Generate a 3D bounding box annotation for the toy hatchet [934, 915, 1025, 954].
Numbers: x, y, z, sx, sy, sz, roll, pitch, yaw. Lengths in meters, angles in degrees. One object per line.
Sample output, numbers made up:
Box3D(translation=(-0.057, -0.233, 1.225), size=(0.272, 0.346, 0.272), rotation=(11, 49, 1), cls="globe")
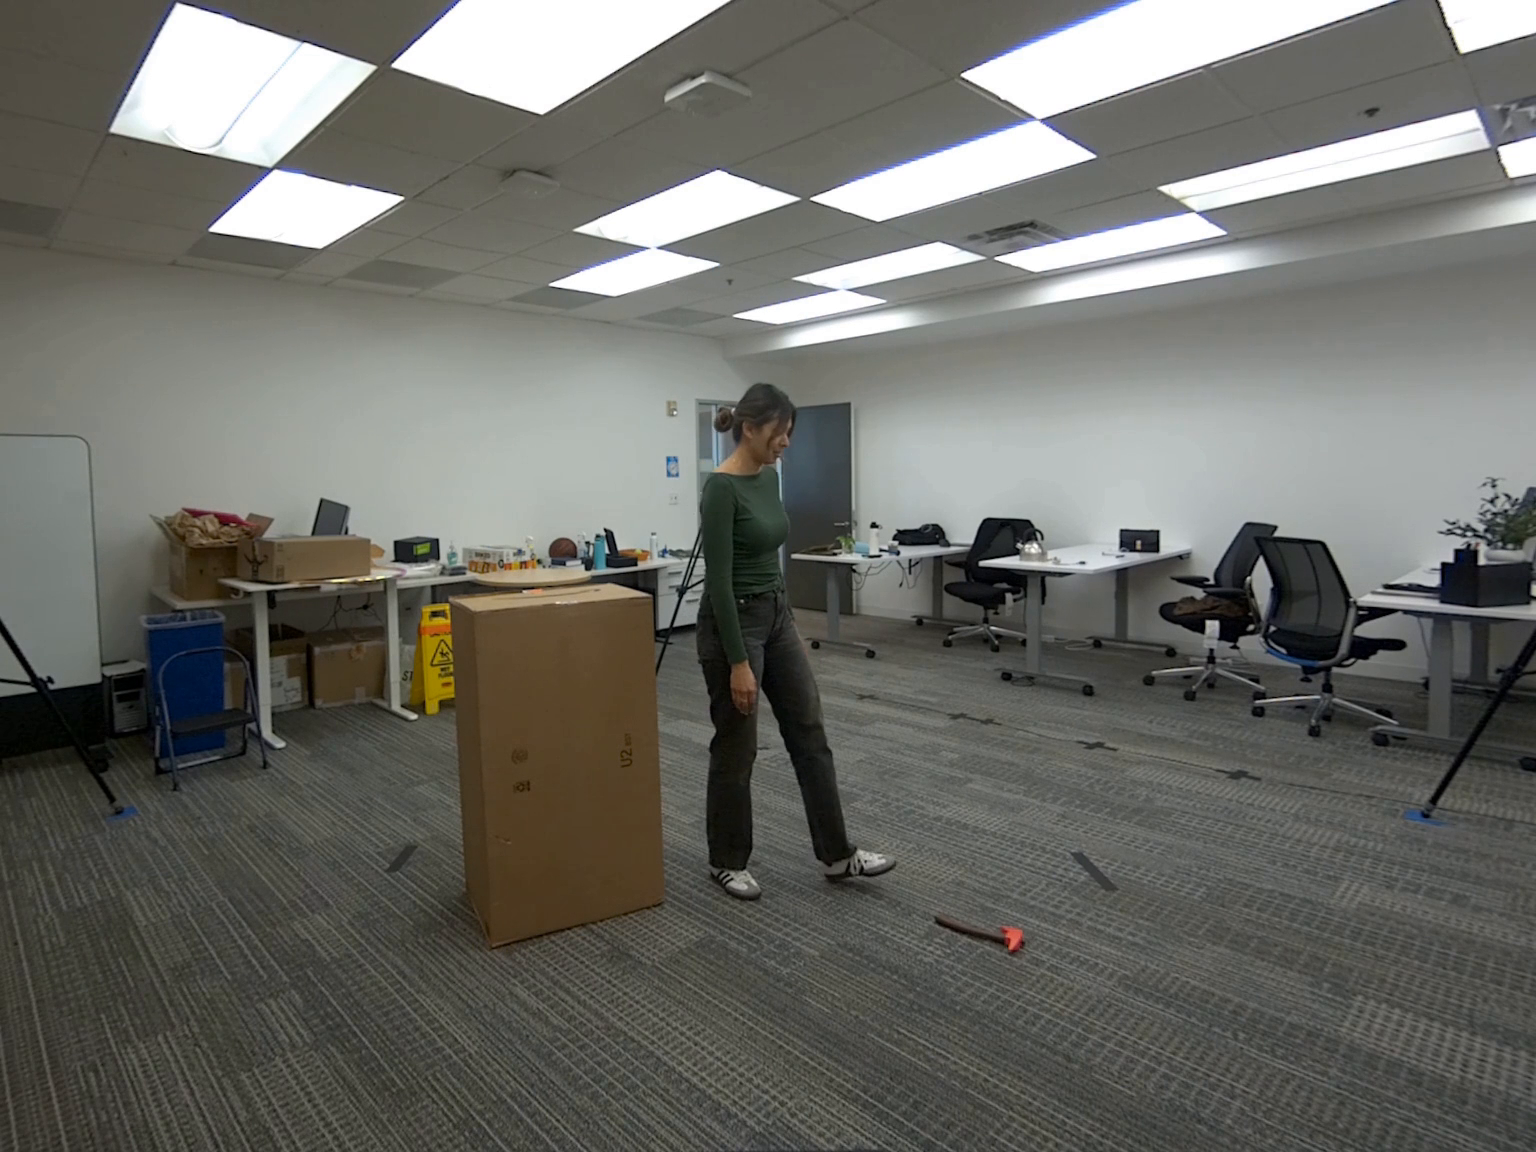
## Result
Box3D(translation=(0.657, 1.070, 2.610), size=(0.128, 0.029, 0.278), rotation=(-8, 8, -44), cls="toy hatchet")
